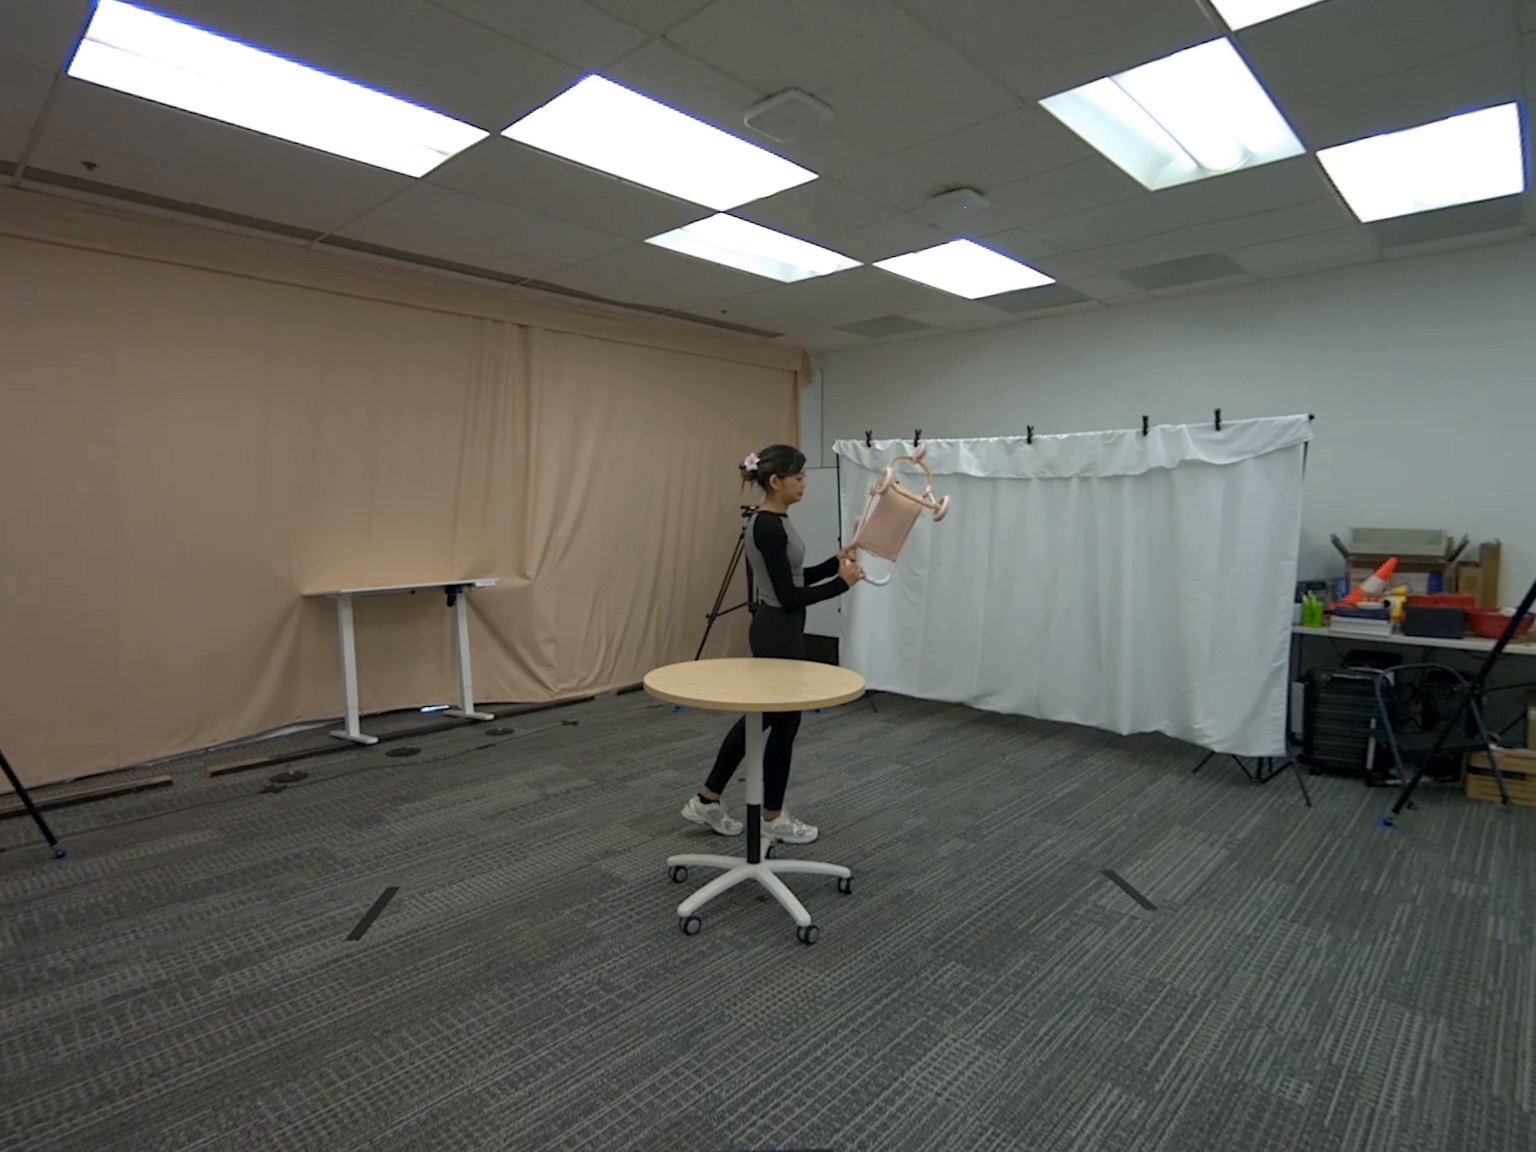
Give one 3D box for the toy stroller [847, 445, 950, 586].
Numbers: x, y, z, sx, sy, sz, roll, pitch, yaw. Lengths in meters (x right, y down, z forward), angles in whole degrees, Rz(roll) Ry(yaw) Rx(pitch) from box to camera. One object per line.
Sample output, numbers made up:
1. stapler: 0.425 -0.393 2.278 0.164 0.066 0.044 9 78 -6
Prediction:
1. toy stroller: 0.513 -0.265 3.429 0.278 0.534 0.346 22 33 -11
